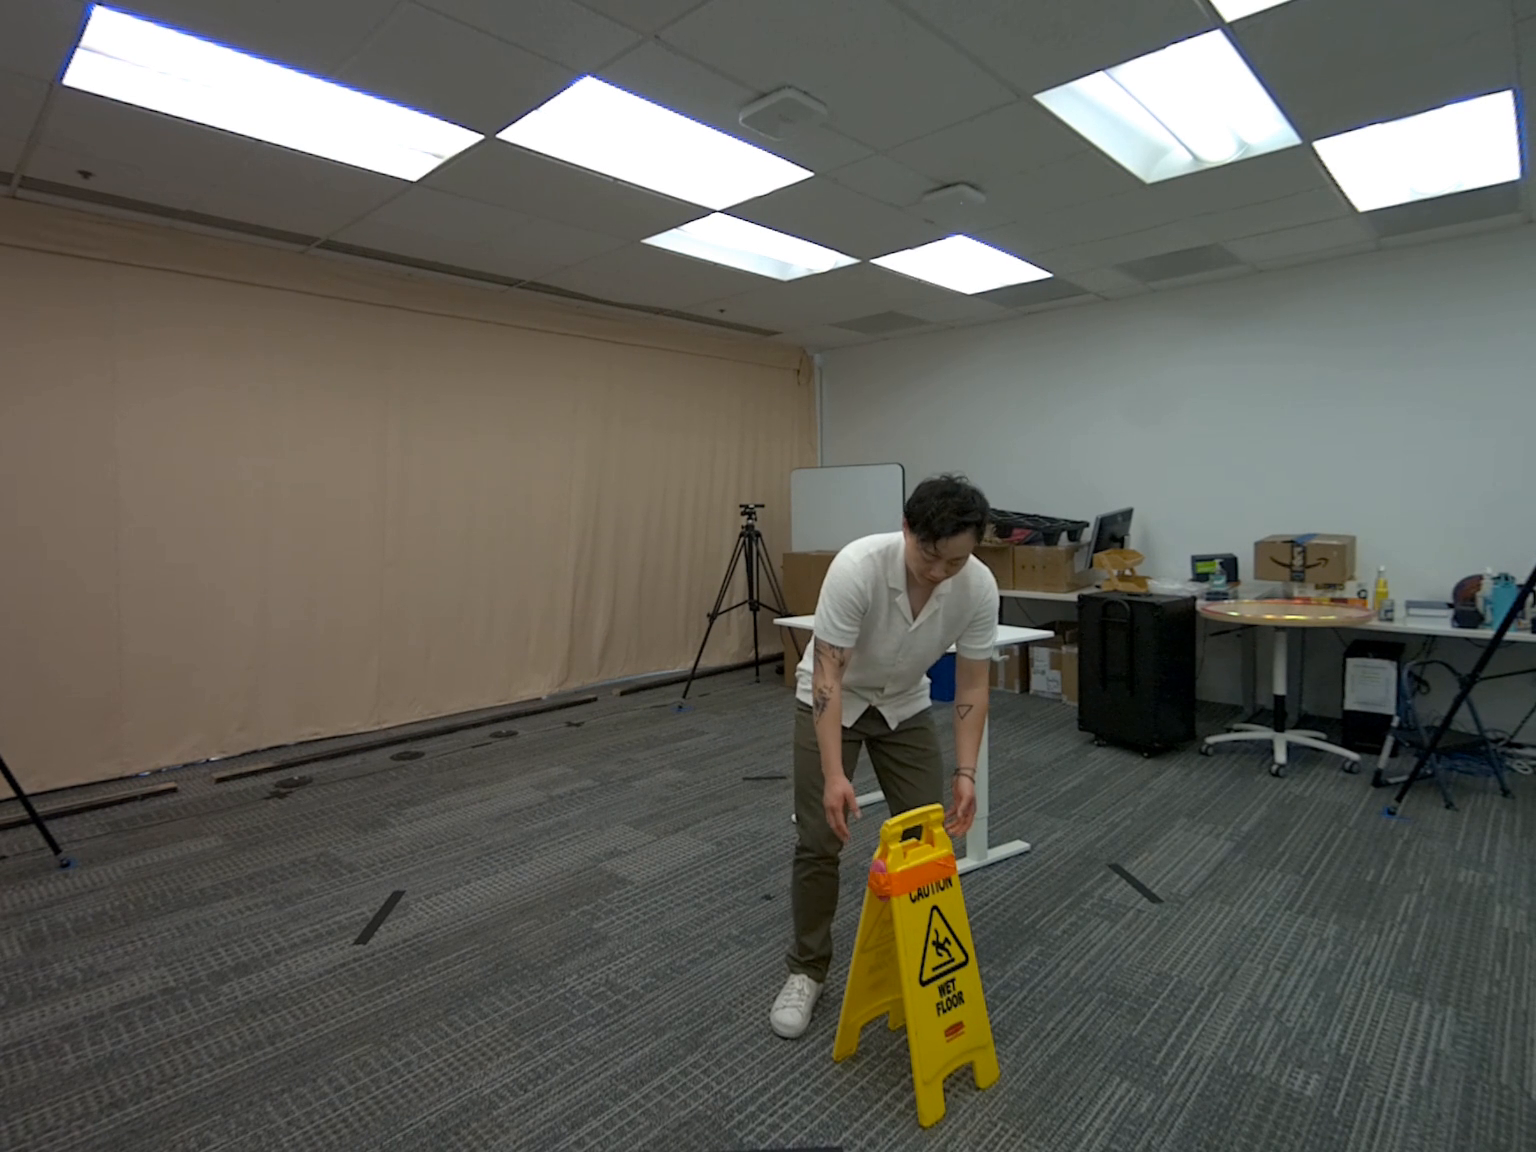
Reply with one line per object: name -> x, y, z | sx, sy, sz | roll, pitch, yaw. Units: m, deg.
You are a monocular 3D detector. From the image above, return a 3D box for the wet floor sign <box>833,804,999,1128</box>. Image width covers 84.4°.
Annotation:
wet floor sign -> 0.361, 0.893, 2.049 | 0.274, 0.644, 0.299 | -3, 5, -37
